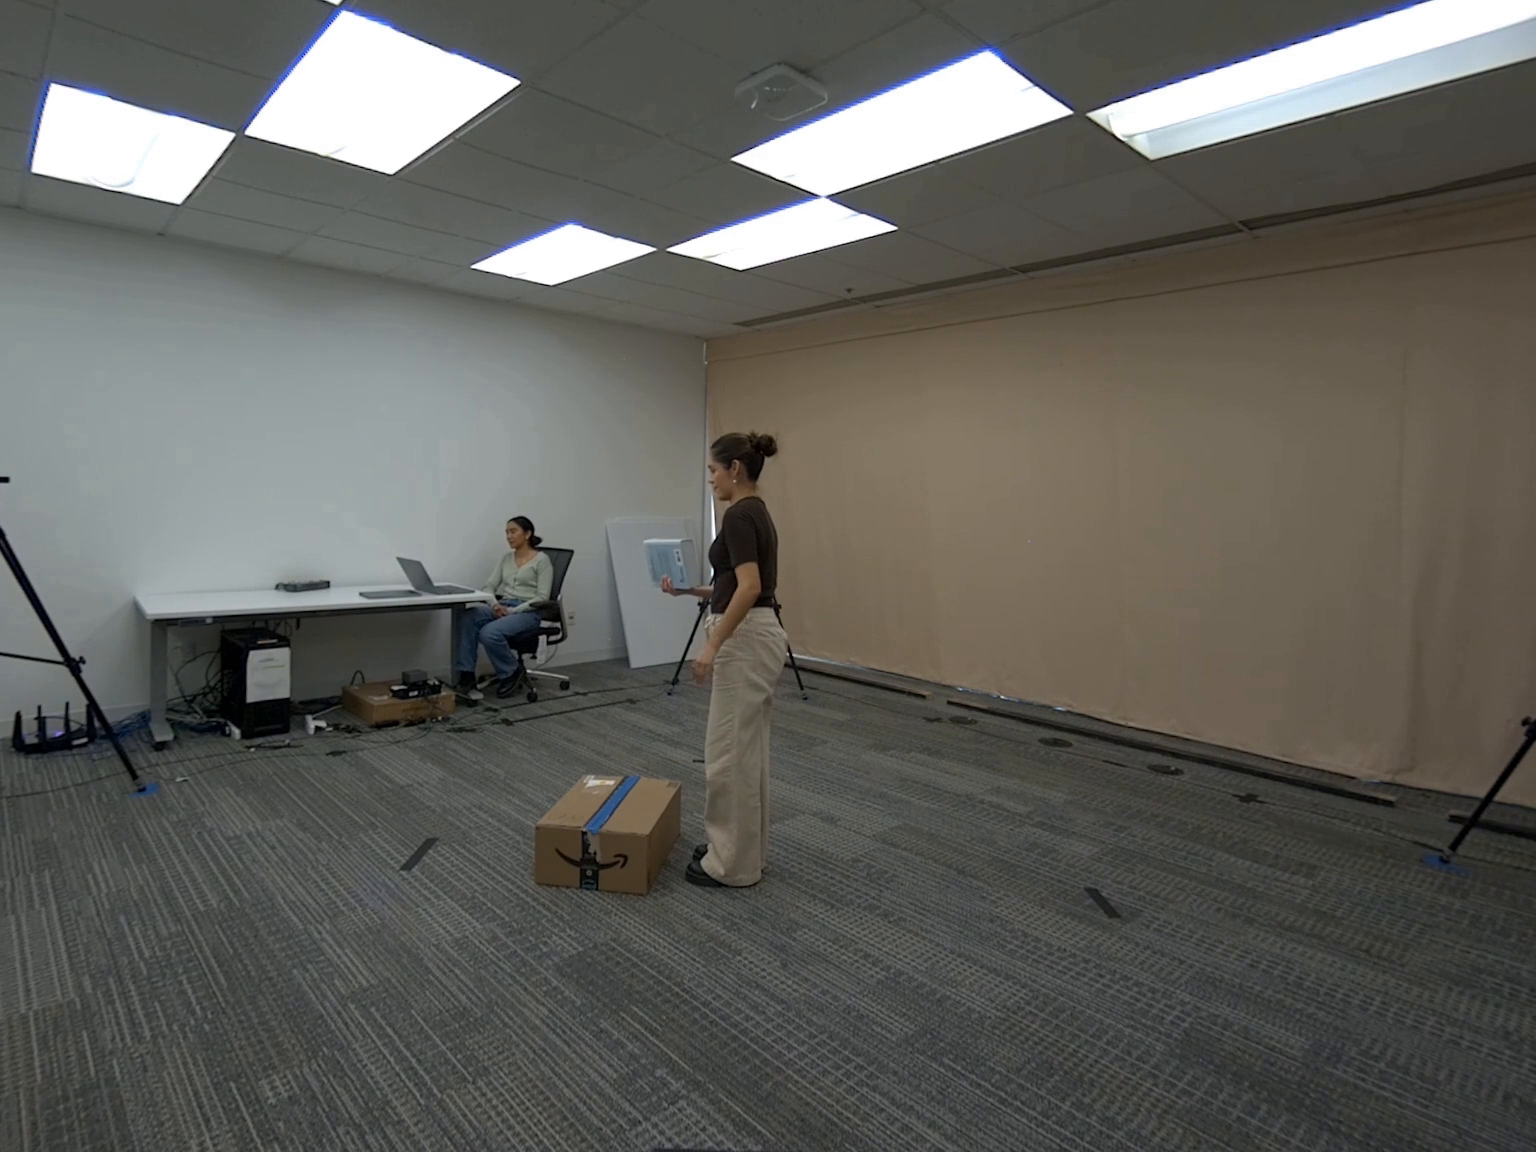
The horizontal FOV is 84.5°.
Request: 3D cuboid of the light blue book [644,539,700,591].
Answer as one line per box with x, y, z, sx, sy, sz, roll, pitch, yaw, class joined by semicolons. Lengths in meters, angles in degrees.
-0.372;-0.046;3.226;0.058;0.190;0.267;-16;11;-37;light blue book
